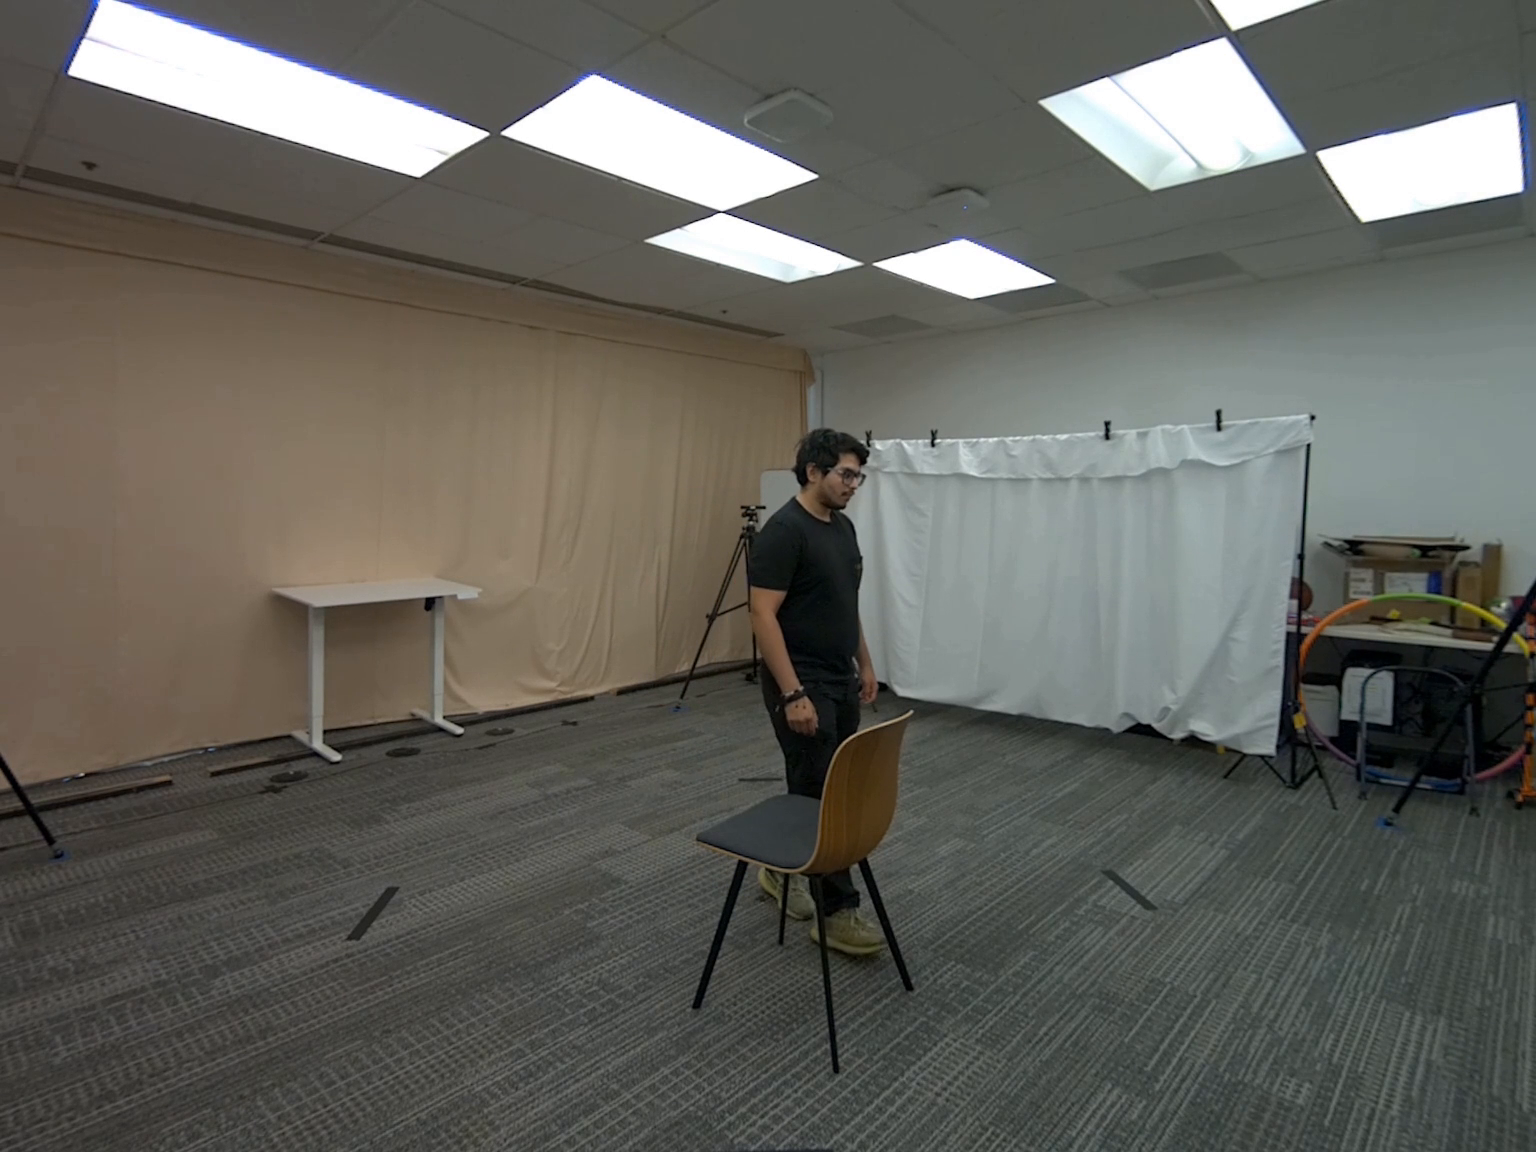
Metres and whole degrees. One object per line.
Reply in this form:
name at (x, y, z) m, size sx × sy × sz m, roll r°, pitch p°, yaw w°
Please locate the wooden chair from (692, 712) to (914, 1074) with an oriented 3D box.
wooden chair at (0.097, 0.767, 2.352) m, size 0.540 × 0.874 × 0.464 m, roll 7°, pitch 7°, yaw 35°
